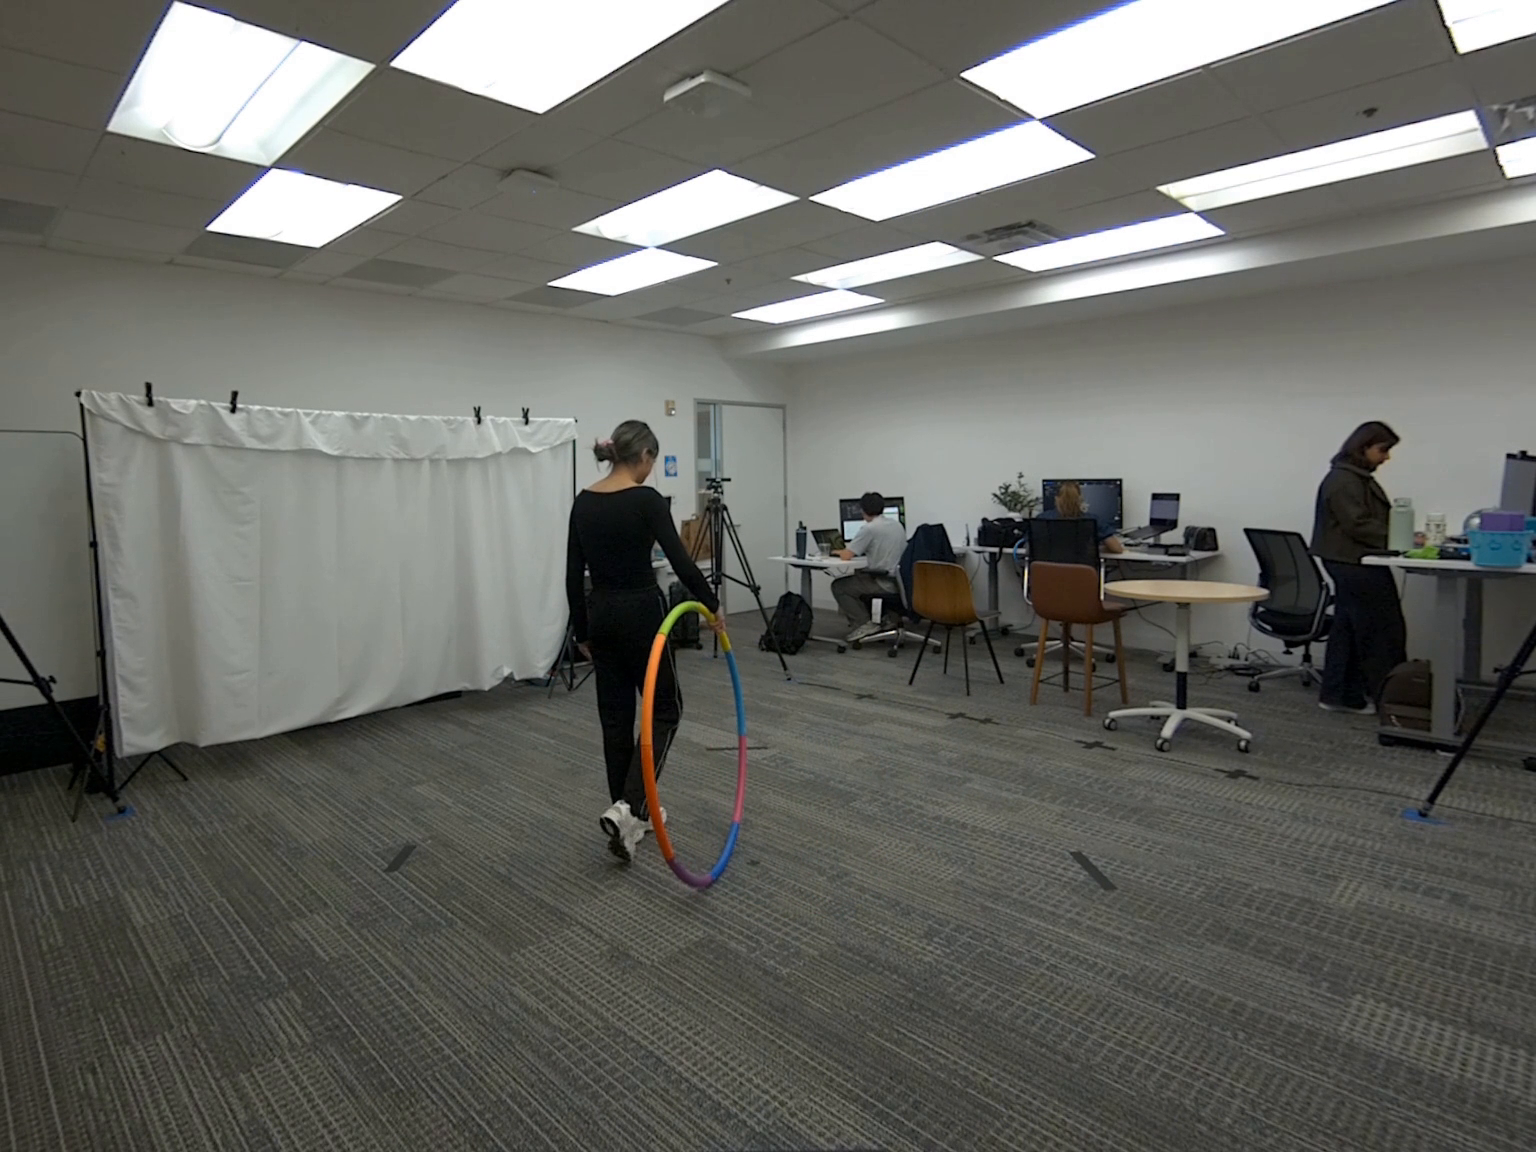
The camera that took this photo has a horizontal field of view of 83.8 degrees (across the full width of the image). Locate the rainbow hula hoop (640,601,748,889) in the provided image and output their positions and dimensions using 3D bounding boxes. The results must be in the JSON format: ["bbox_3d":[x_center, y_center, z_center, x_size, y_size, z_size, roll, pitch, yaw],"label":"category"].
[{"bbox_3d":[-0.237,0.579,3.017,0.036,0.976,0.968,-6,3,14],"label":"rainbow hula hoop"}]
